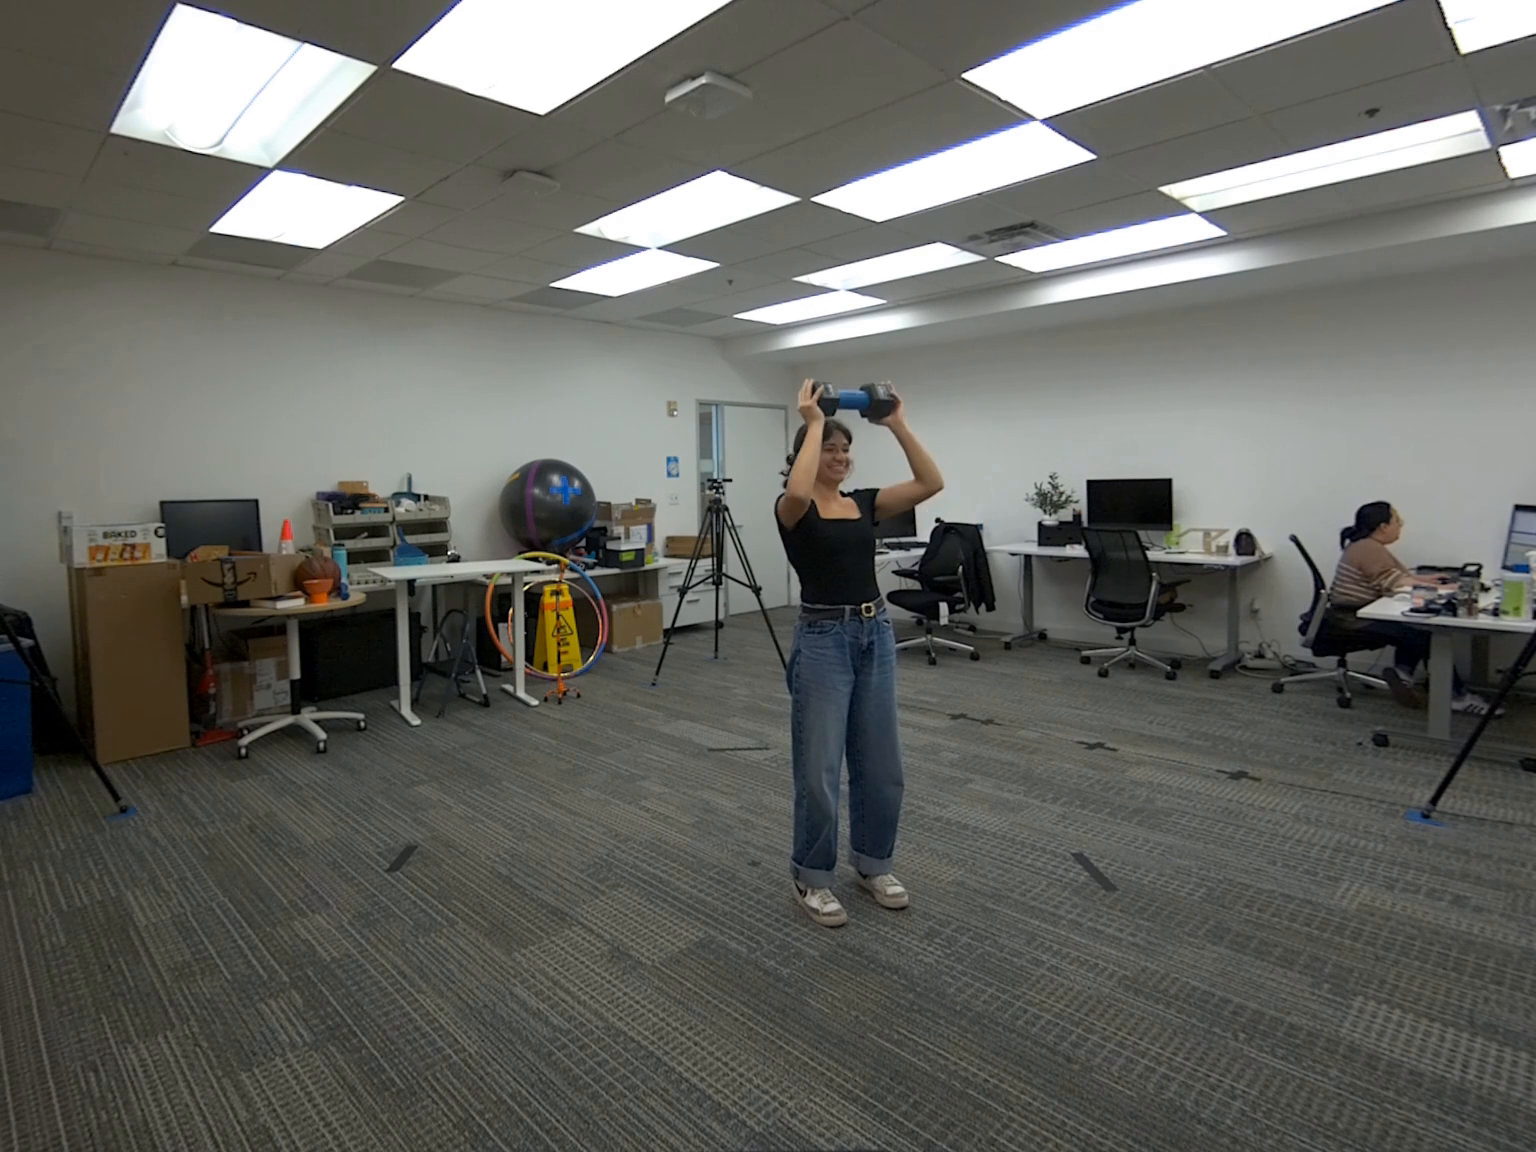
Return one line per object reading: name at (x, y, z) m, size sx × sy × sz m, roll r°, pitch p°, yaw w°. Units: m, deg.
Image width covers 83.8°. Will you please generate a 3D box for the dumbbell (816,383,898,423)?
dumbbell at (0.252, -0.547, 2.673) m, size 0.287 × 0.121 × 0.113 m, roll -4°, pitch 39°, yaw -29°
